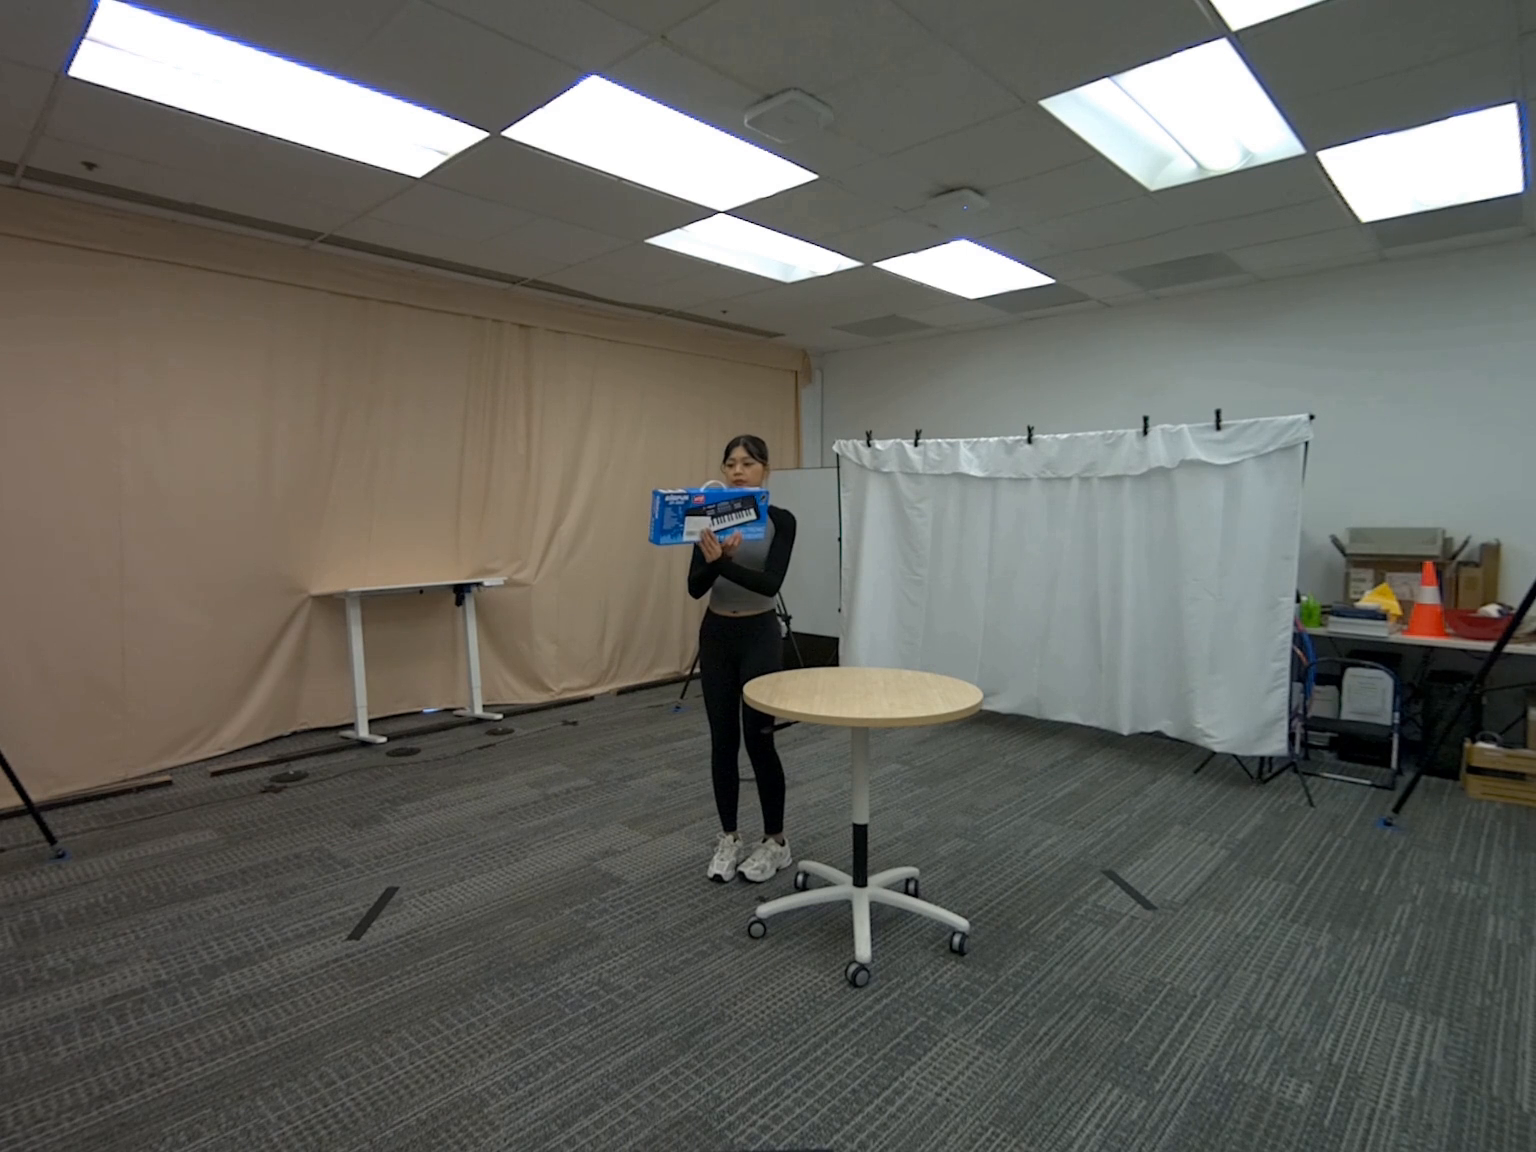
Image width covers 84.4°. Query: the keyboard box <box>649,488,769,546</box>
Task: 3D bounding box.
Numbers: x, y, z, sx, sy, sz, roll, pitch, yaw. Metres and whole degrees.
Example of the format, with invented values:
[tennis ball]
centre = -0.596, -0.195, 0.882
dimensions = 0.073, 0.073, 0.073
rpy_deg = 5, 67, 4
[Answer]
[keyboard box]
centre = -0.185, -0.199, 2.809
dimensions = 0.424, 0.175, 0.061
rpy_deg = -5, 17, -36
